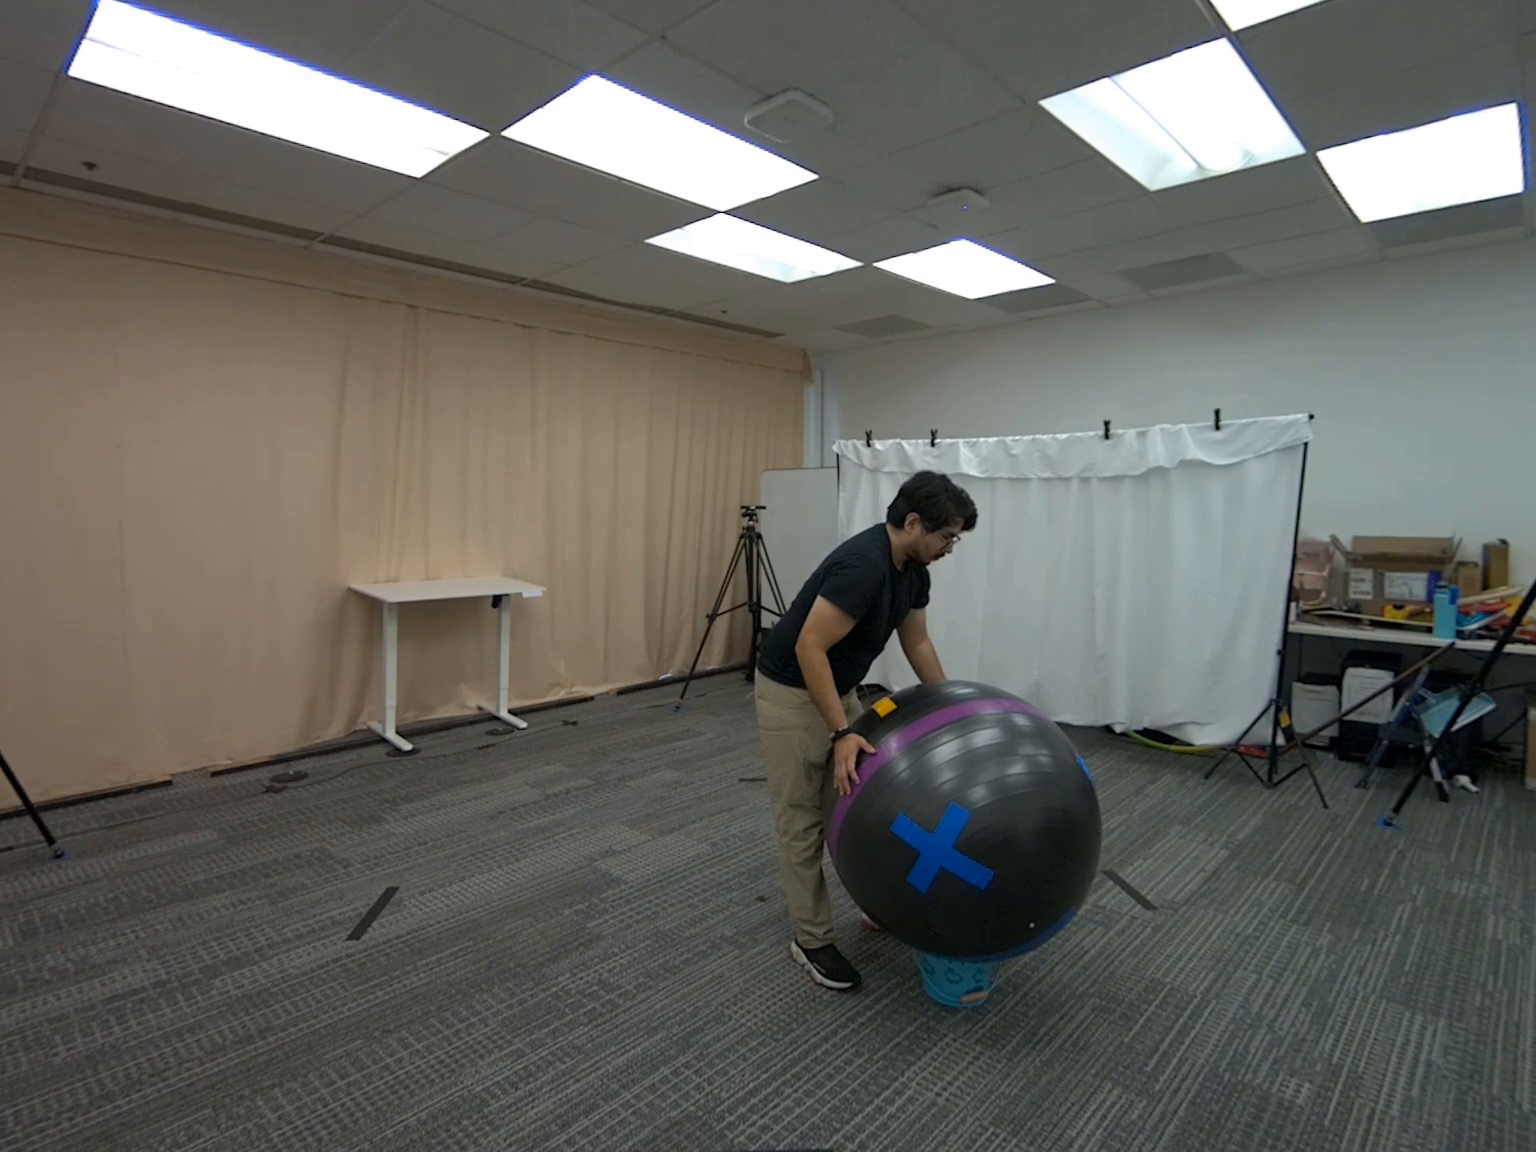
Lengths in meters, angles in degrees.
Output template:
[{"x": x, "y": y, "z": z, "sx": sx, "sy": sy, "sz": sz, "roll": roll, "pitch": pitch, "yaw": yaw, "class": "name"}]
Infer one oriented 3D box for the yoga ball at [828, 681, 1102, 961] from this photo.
[{"x": 0.544, "y": 0.686, "z": 2.391, "sx": 0.757, "sy": 0.756, "sz": 0.760, "roll": 0, "pitch": 4, "yaw": -2, "class": "yoga ball"}]
